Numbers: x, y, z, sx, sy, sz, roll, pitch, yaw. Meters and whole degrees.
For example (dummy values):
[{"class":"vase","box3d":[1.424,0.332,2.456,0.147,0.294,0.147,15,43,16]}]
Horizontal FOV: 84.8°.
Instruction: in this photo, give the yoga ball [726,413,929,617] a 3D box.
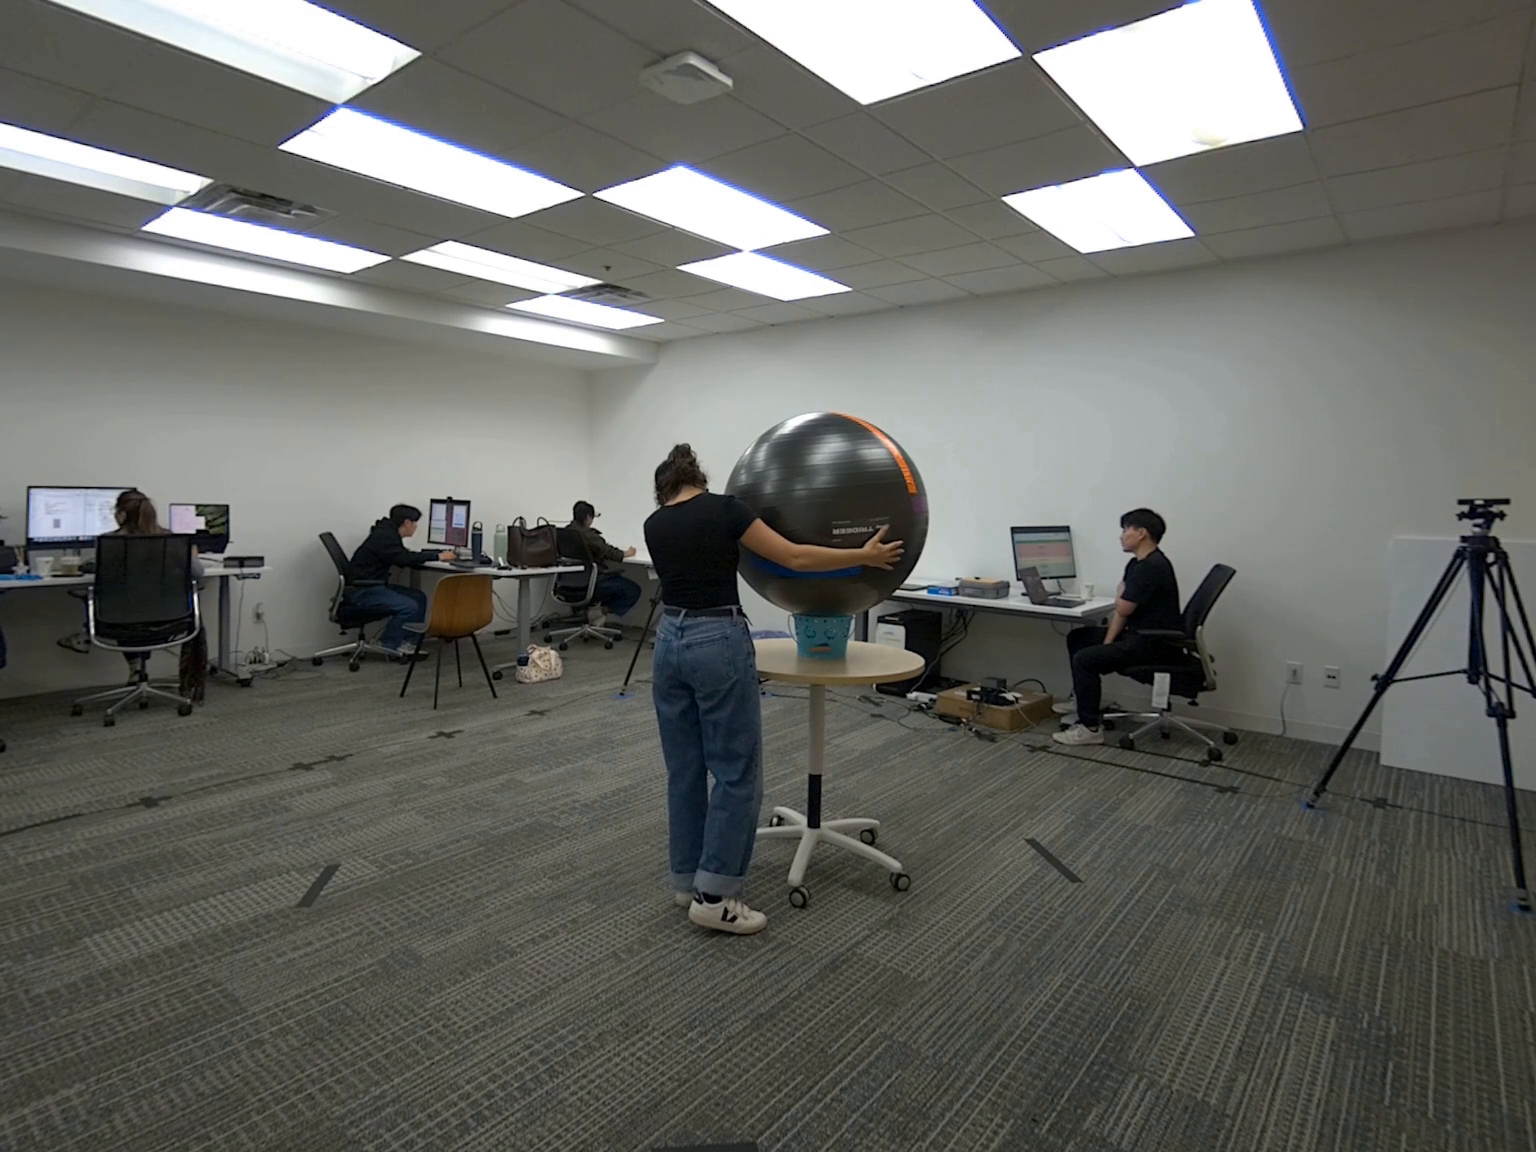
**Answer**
[{"class":"yoga ball","box3d":[0.212,-0.226,3.163,0.757,0.756,0.762,1,4,-2]}]
